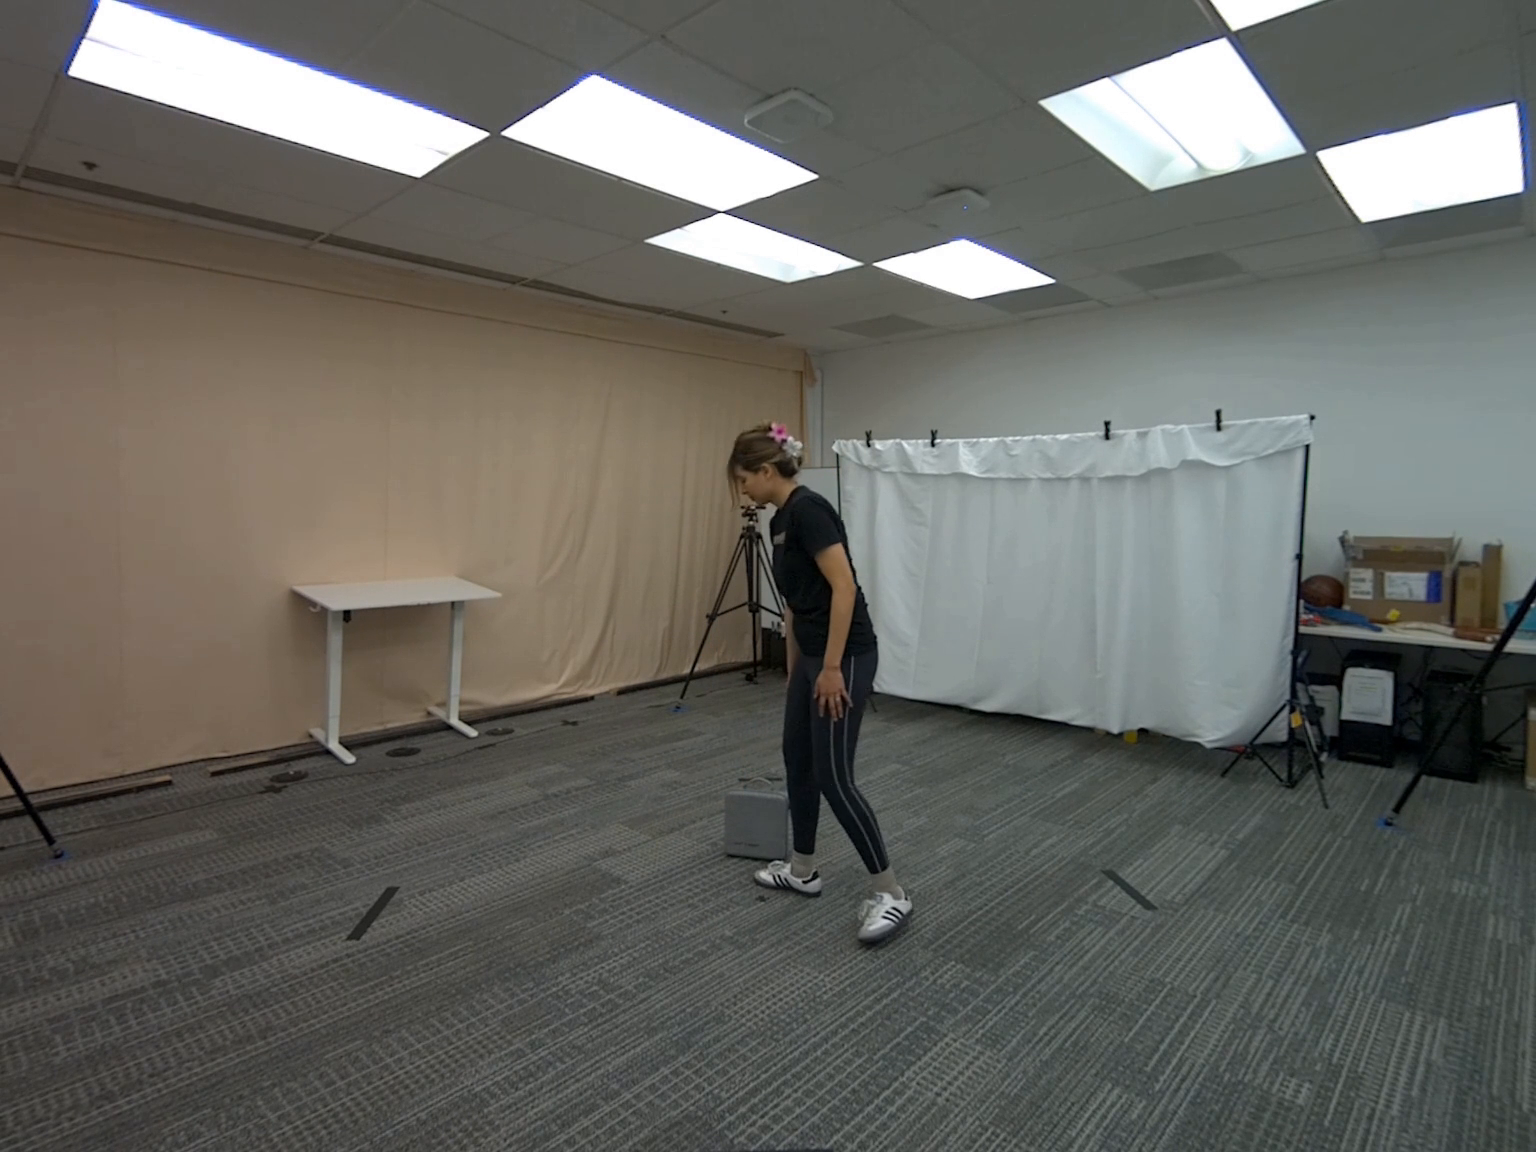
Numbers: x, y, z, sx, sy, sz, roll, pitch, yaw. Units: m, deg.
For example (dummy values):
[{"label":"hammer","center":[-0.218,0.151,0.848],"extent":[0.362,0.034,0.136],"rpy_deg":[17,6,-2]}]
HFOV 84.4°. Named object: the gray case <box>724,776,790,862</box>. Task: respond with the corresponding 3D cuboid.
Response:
[{"label":"gray case","center":[-0.046,0.977,3.351],"extent":[0.262,0.261,0.102],"rpy_deg":[1,-4,17]}]
